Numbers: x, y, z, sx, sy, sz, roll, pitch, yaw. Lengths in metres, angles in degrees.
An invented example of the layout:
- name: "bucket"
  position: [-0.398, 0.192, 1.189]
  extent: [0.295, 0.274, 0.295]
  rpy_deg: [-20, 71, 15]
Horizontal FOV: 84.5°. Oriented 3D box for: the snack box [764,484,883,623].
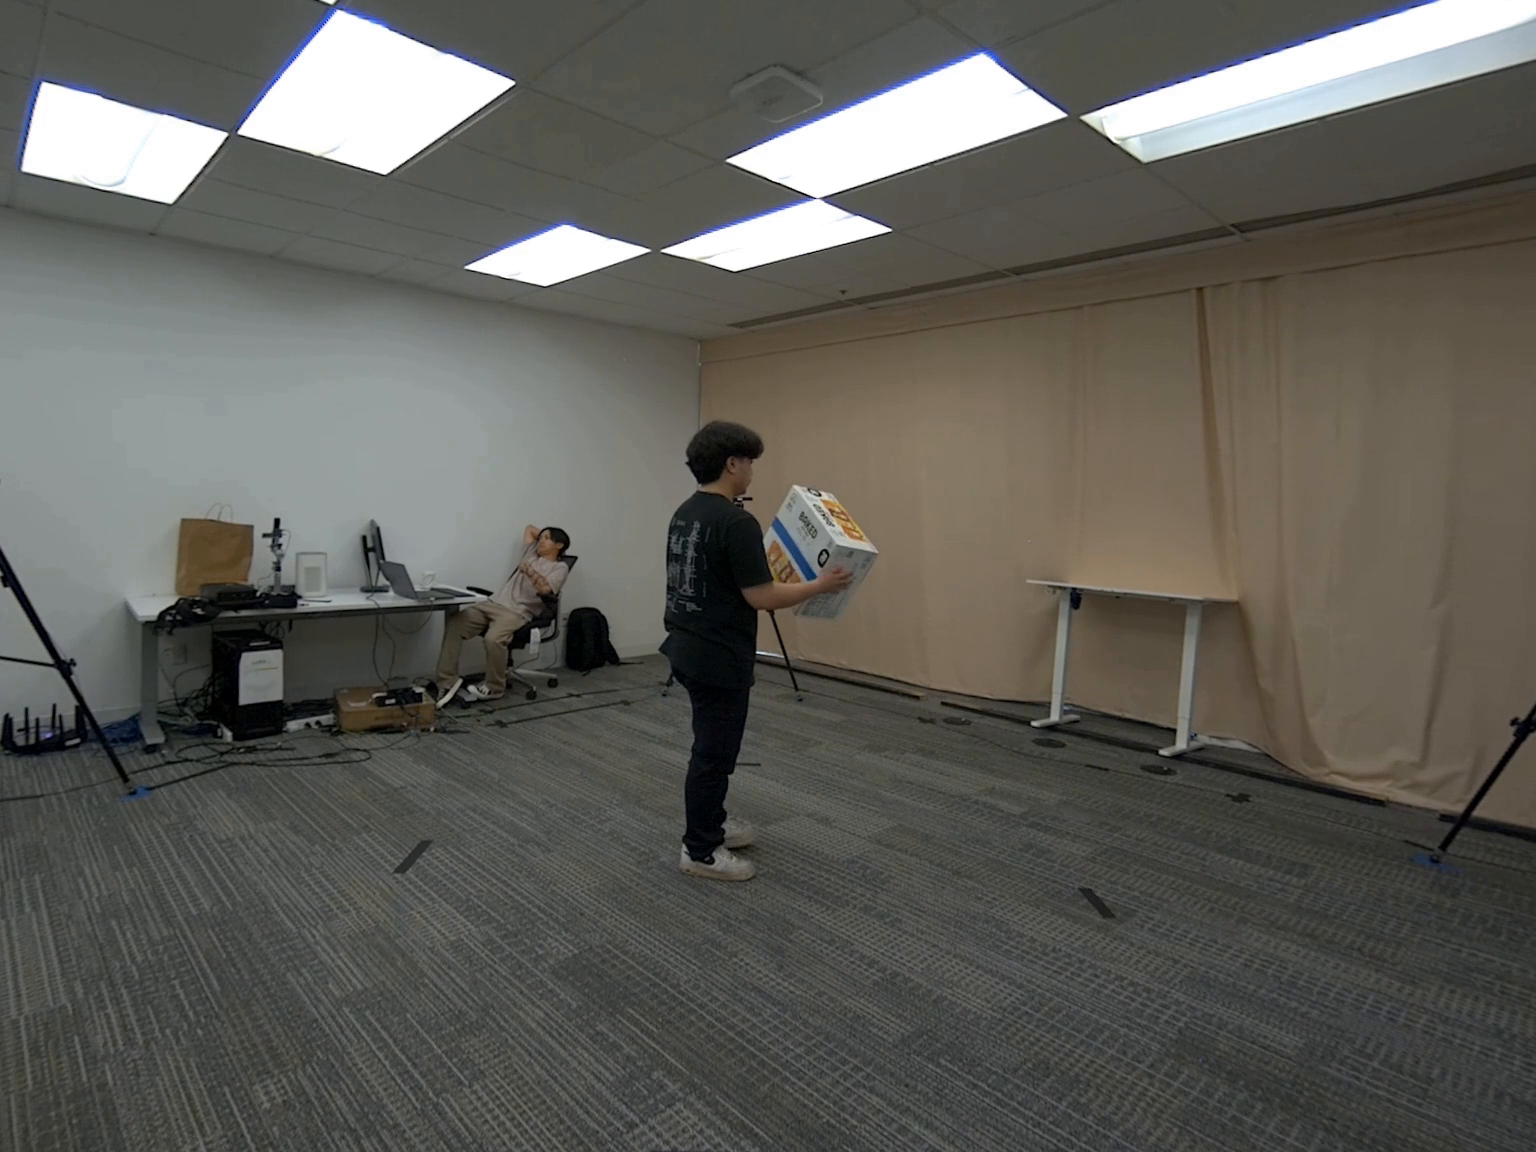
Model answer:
- name: "snack box"
  position: [0.184, -0.092, 3.280]
  extent: [0.201, 0.338, 0.418]
  rpy_deg: [9, 32, -32]
